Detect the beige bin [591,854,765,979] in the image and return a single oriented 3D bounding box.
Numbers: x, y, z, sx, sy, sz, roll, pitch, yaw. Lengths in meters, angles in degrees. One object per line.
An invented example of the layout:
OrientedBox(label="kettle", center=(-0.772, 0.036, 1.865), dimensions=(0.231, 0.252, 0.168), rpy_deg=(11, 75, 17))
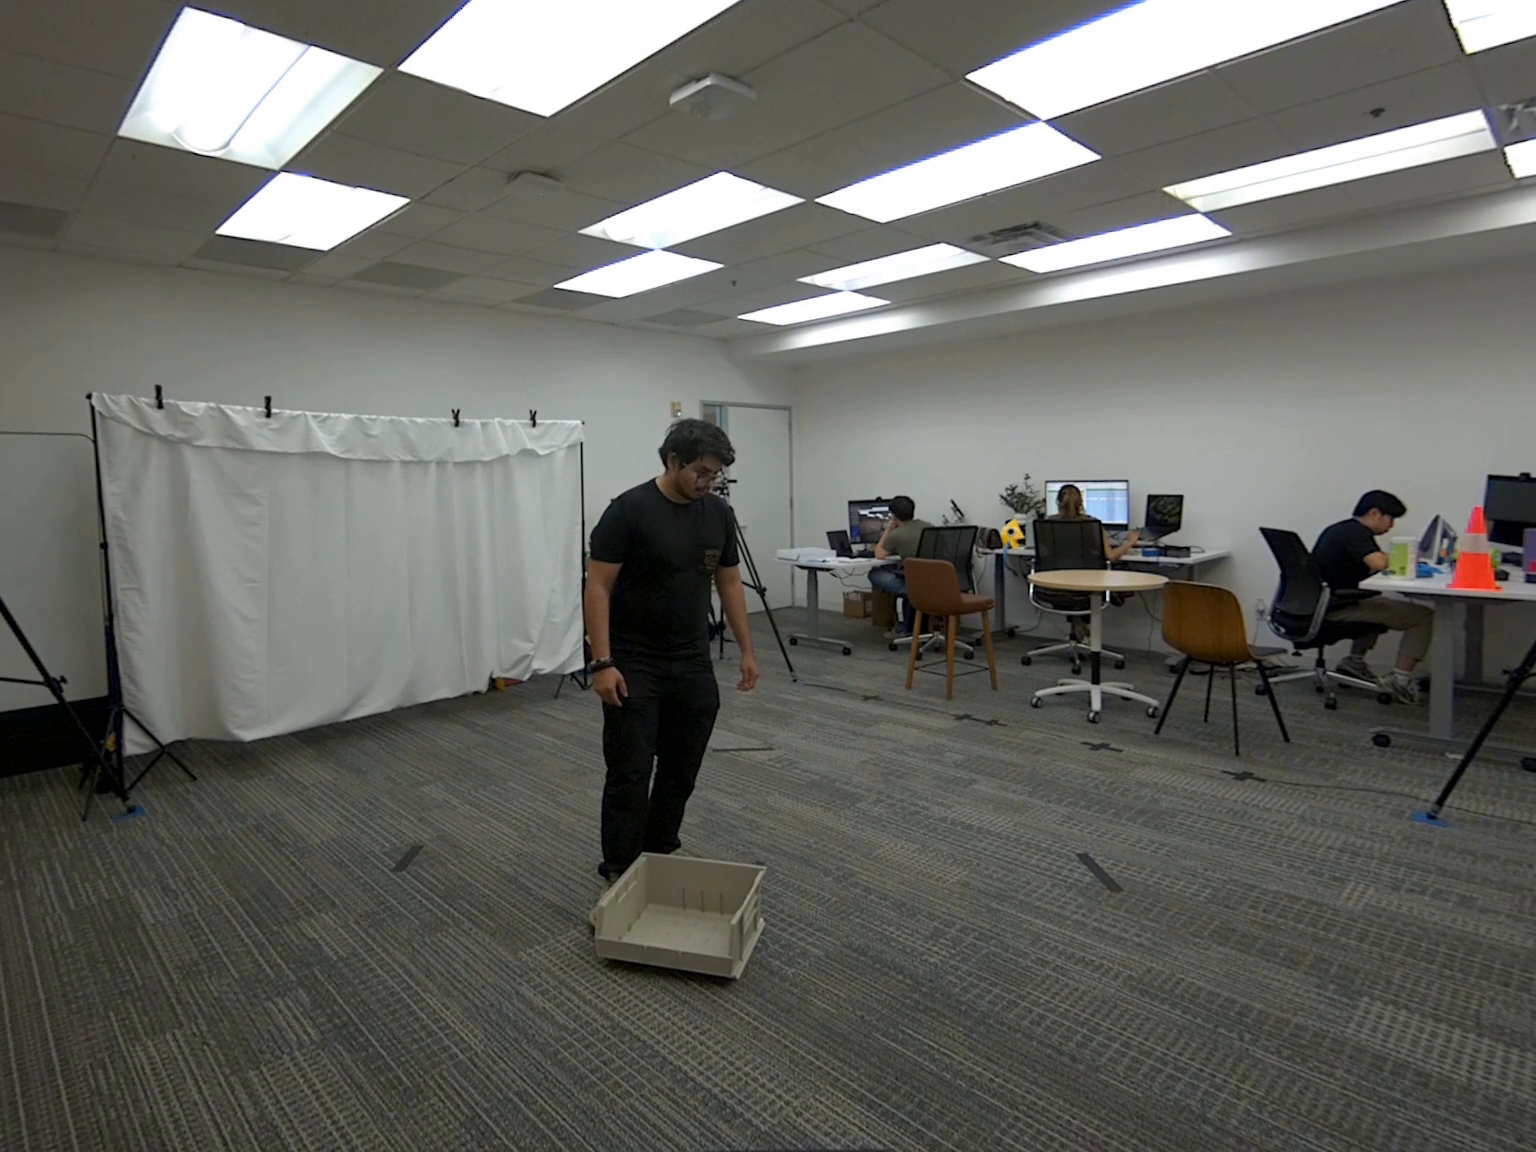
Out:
OrientedBox(label="beige bin", center=(-0.251, 1.026, 2.572), dimensions=(0.429, 0.188, 0.373), rpy_deg=(0, 5, 16))
